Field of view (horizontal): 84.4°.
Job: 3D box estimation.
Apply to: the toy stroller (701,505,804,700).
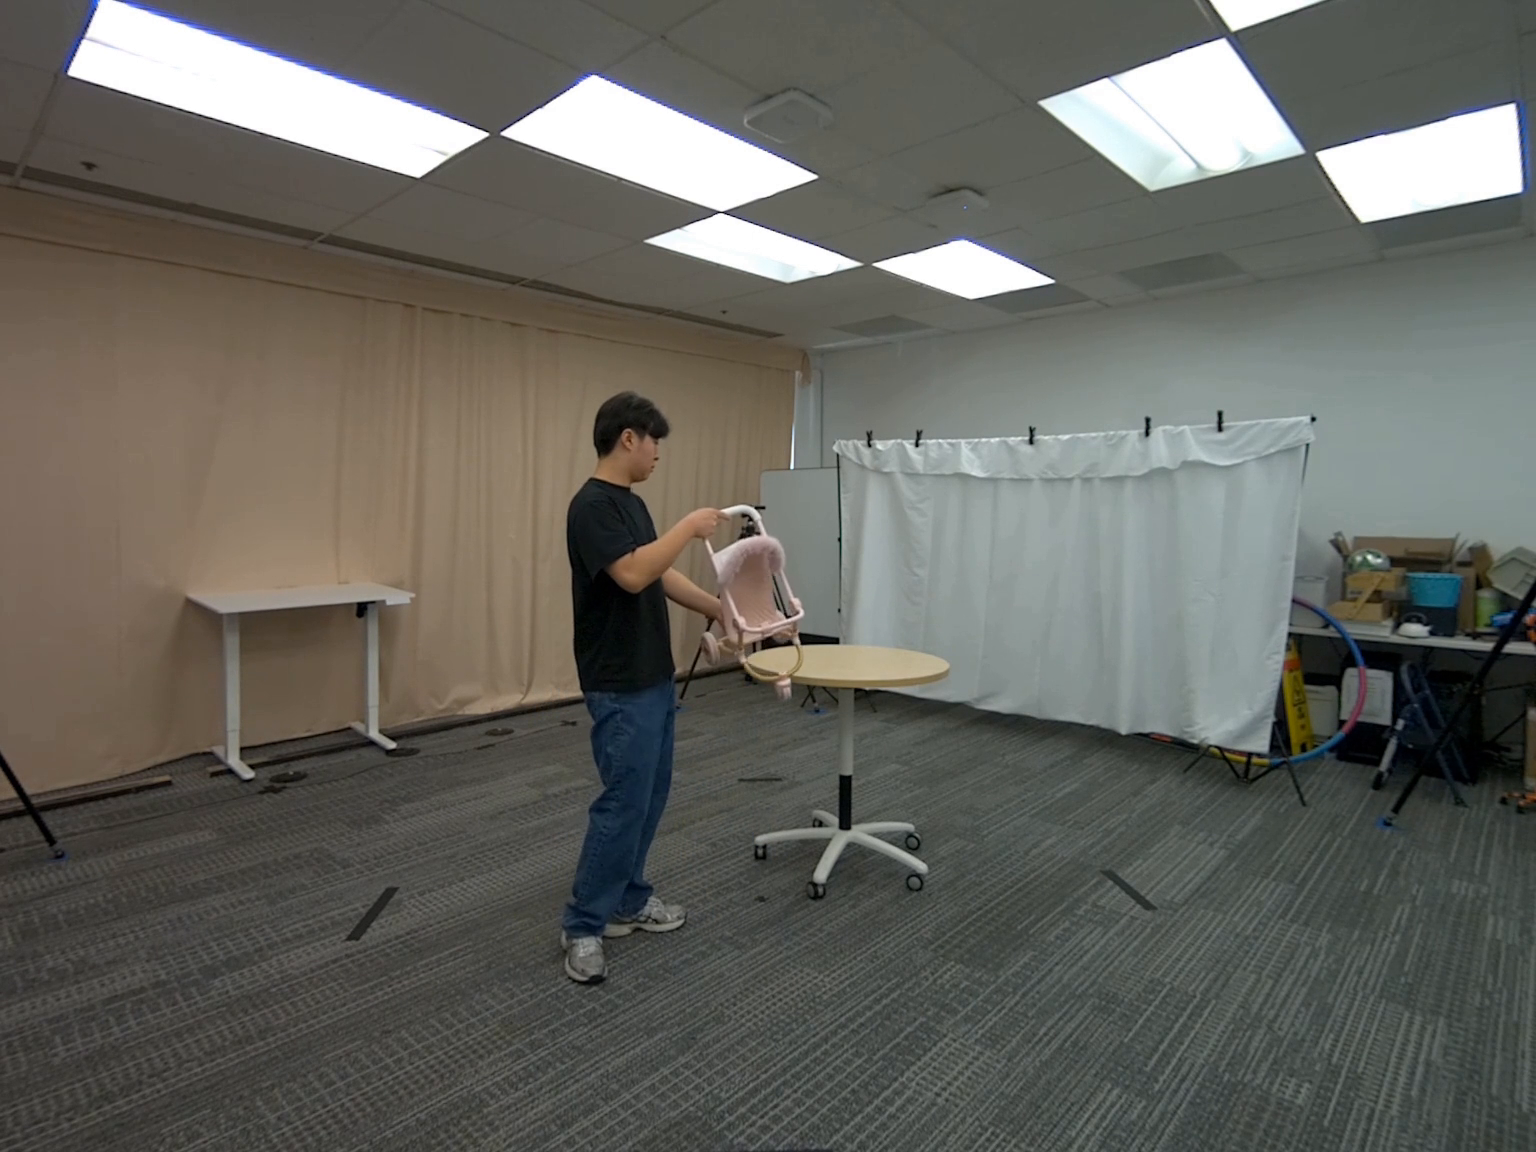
[{"bbox_3d":[-0.036,0.093,2.540,0.276,0.527,0.352,-13,23,-21],"label":"toy stroller"}]
